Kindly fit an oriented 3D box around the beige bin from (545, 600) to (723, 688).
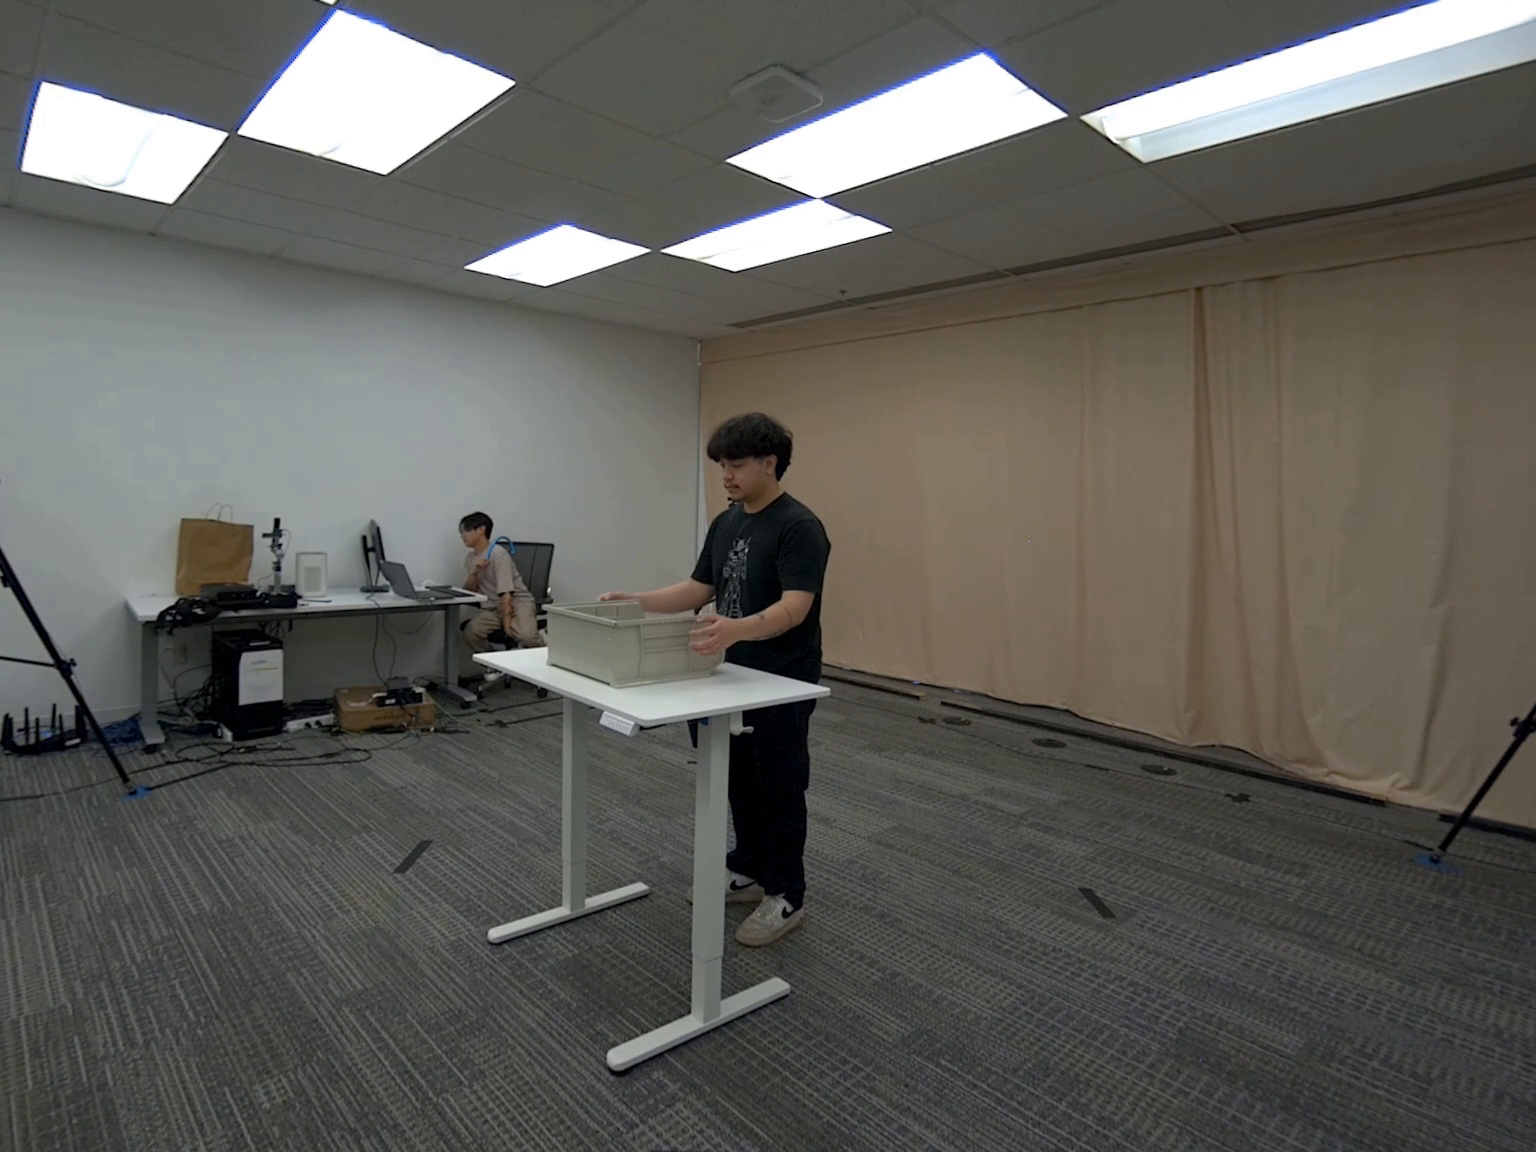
[{"bbox_3d":[-0.403,0.194,2.477,0.369,0.188,0.433,-3,7,-39],"label":"beige bin"}]
